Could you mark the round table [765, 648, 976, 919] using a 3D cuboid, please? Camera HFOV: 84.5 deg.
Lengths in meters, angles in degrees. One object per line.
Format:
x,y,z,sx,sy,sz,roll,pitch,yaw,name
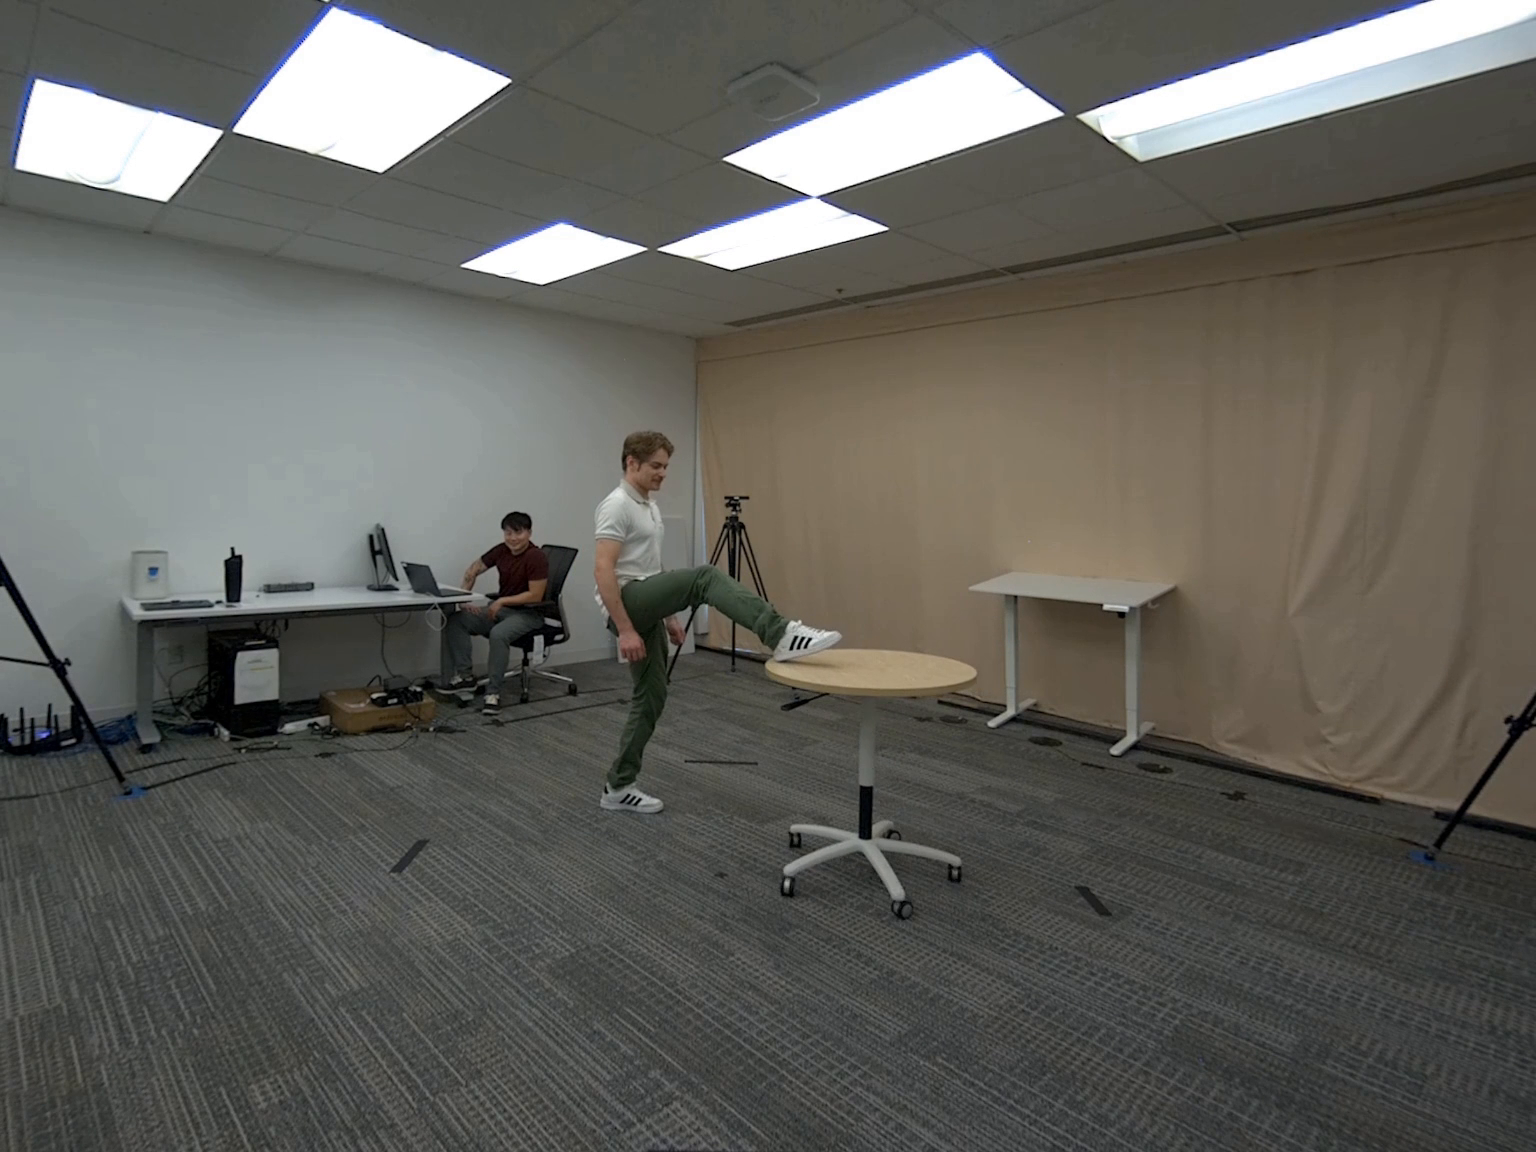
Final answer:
0.362,0.727,3.114,0.763,0.792,0.766,1,4,-1,round table
